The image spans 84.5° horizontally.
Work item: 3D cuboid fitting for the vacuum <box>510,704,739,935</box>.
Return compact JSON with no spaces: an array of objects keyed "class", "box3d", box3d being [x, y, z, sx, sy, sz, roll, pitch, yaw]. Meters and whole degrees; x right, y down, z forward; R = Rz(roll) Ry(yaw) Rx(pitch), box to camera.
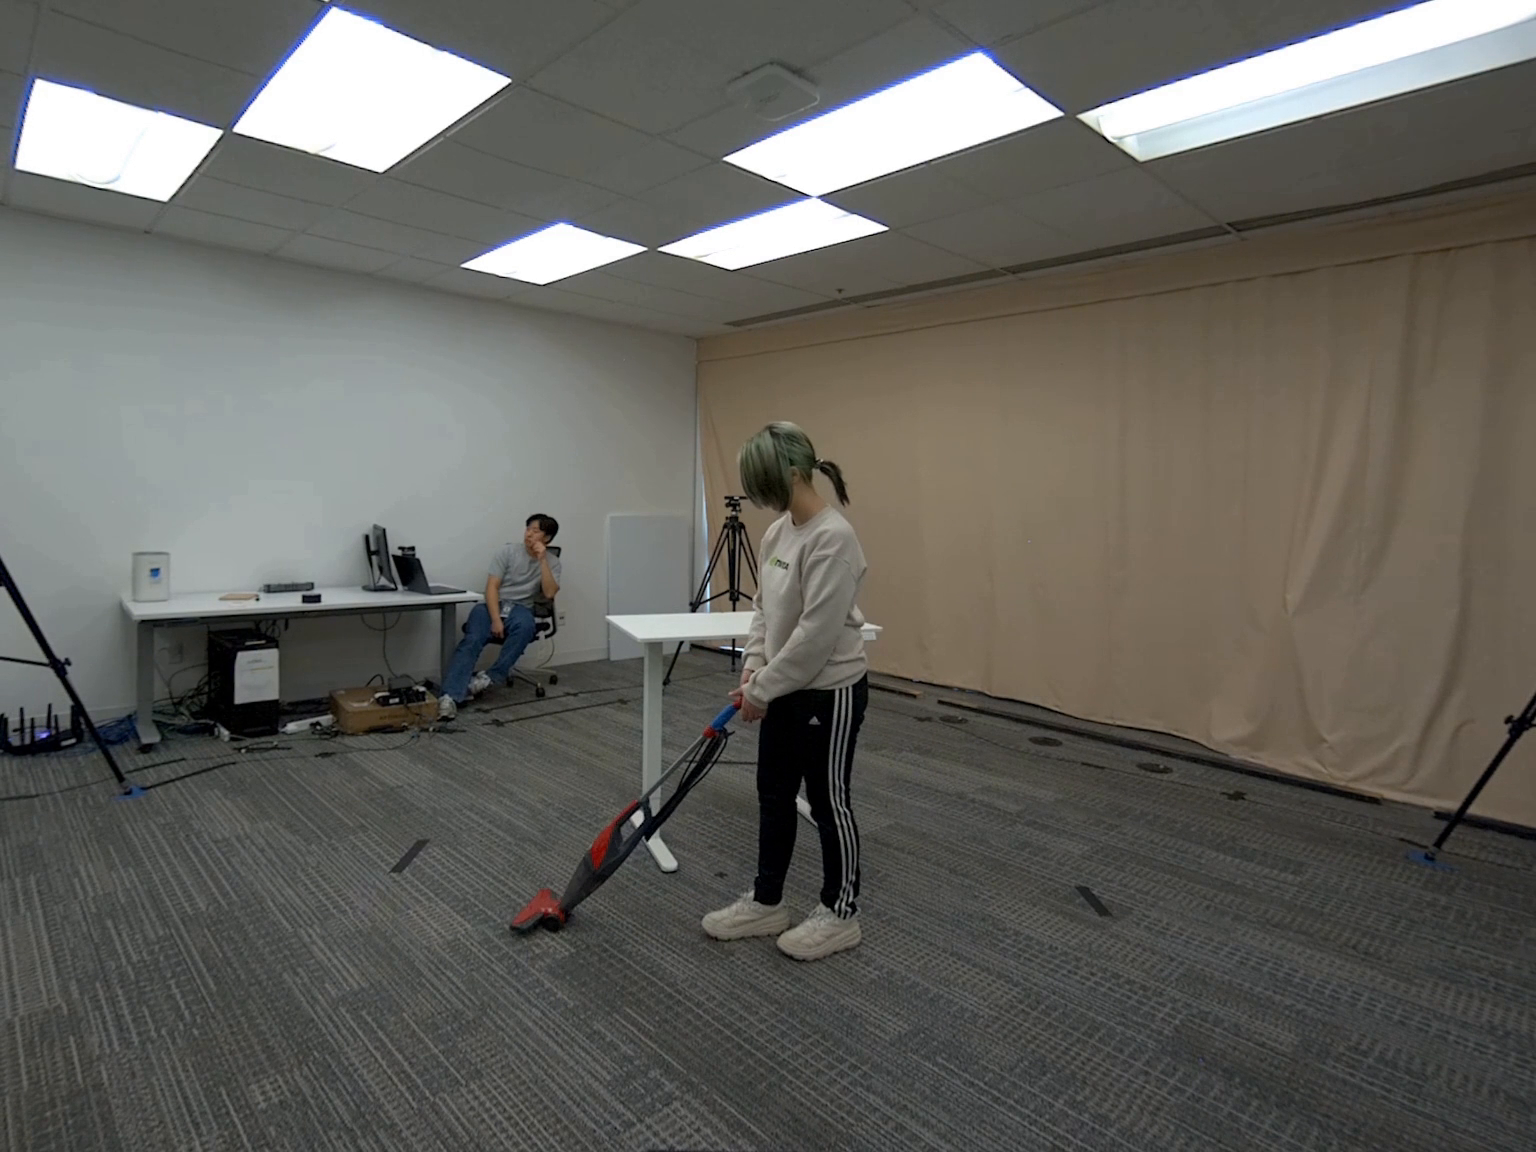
[{"class":"vacuum","box3d":[-0.378,0.744,2.649,0.144,1.049,0.252,45,11,1]}]
